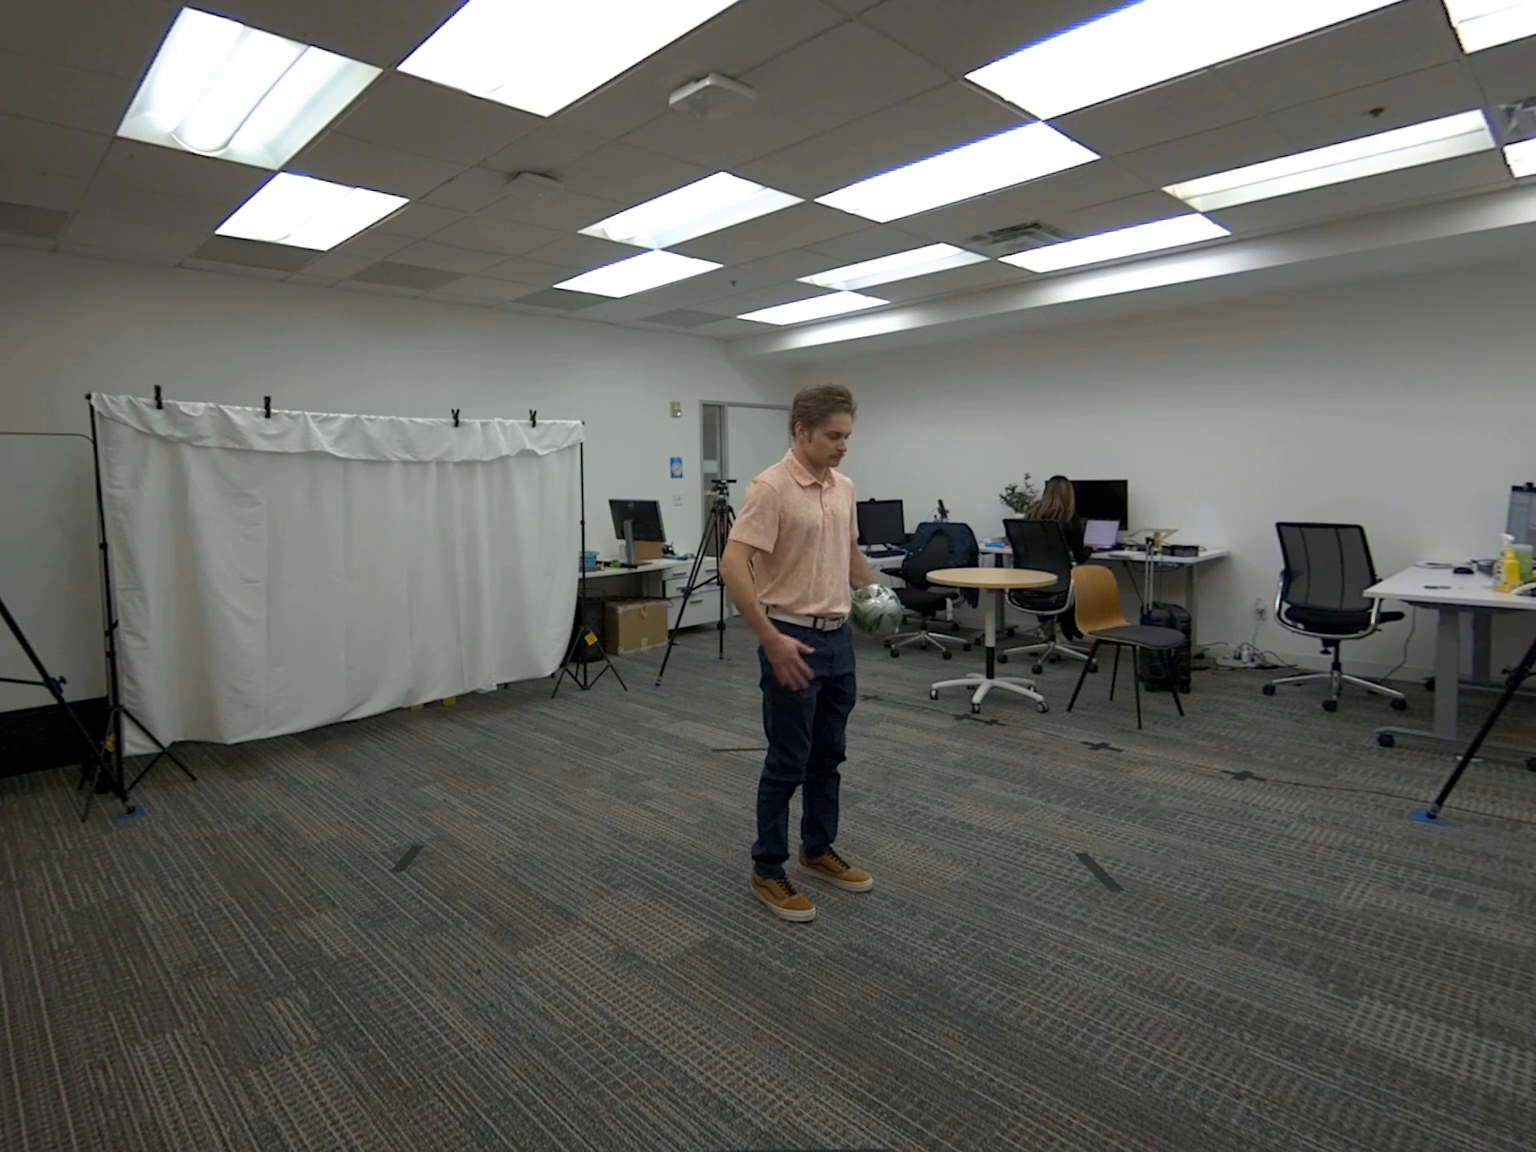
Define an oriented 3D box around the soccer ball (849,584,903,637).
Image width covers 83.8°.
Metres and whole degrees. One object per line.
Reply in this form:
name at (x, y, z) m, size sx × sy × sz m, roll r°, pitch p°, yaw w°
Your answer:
soccer ball at (0.368, 0.116, 2.968) m, size 0.187 × 0.187 × 0.188 m, roll -1°, pitch 5°, yaw -2°
